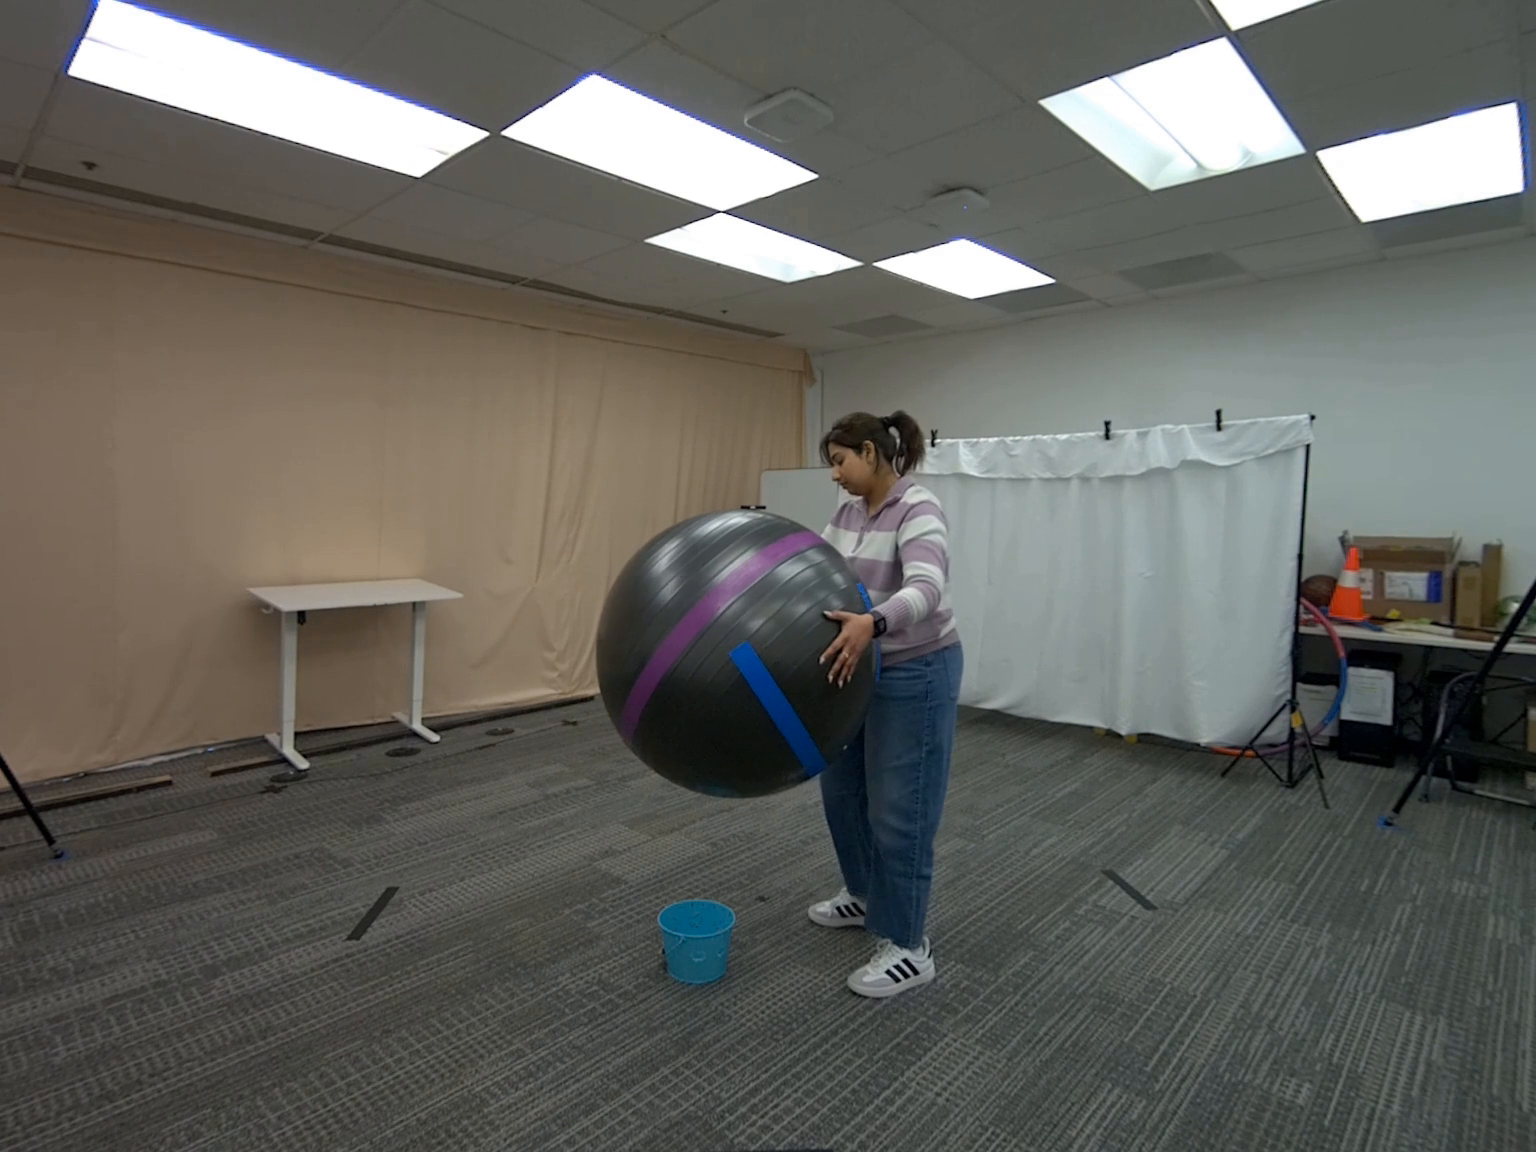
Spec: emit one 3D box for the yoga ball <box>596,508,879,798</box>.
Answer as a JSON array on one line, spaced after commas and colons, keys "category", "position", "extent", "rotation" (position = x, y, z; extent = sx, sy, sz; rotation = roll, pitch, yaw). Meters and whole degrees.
[{"category": "yoga ball", "position": [-0.078, 0.207, 2.257], "extent": [0.757, 0.756, 0.761], "rotation": [0, 4, -2]}]
